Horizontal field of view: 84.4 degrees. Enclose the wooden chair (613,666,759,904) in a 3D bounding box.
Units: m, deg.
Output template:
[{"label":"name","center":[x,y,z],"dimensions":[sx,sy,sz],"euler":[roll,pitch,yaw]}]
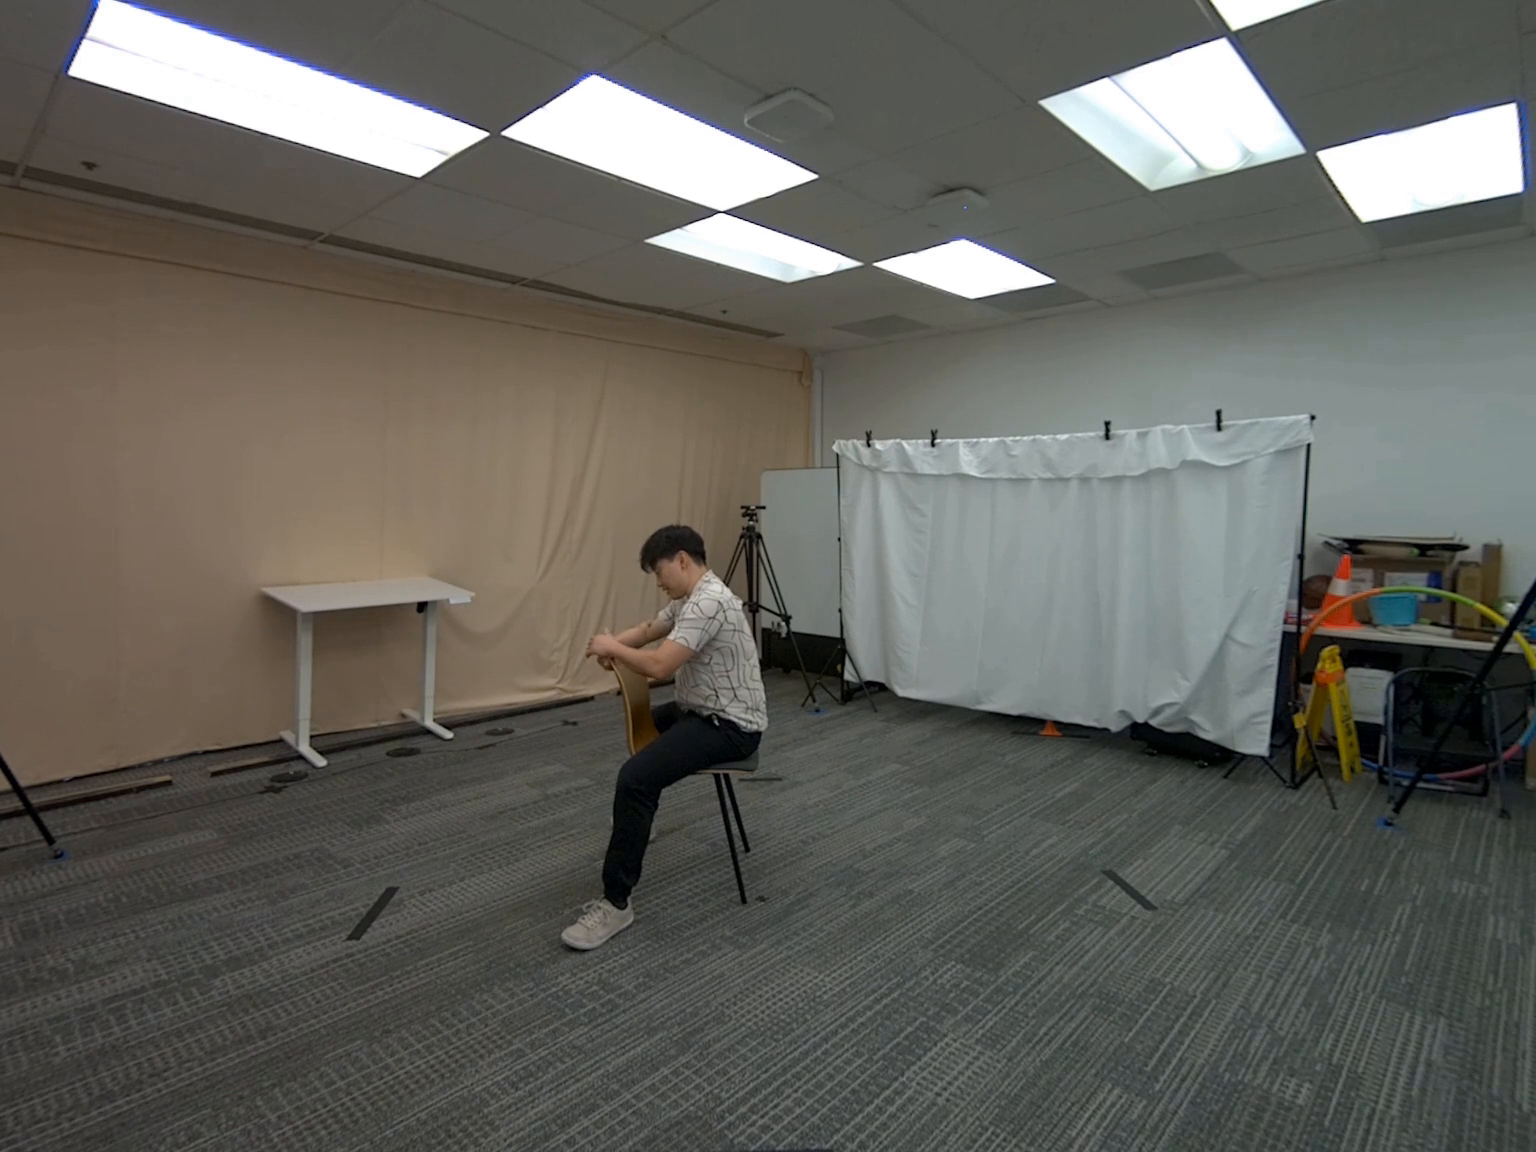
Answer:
[{"label":"wooden chair","center":[-0.294,0.716,3.151],"dimensions":[0.525,0.876,0.477],"euler":[-5,3,3]}]
